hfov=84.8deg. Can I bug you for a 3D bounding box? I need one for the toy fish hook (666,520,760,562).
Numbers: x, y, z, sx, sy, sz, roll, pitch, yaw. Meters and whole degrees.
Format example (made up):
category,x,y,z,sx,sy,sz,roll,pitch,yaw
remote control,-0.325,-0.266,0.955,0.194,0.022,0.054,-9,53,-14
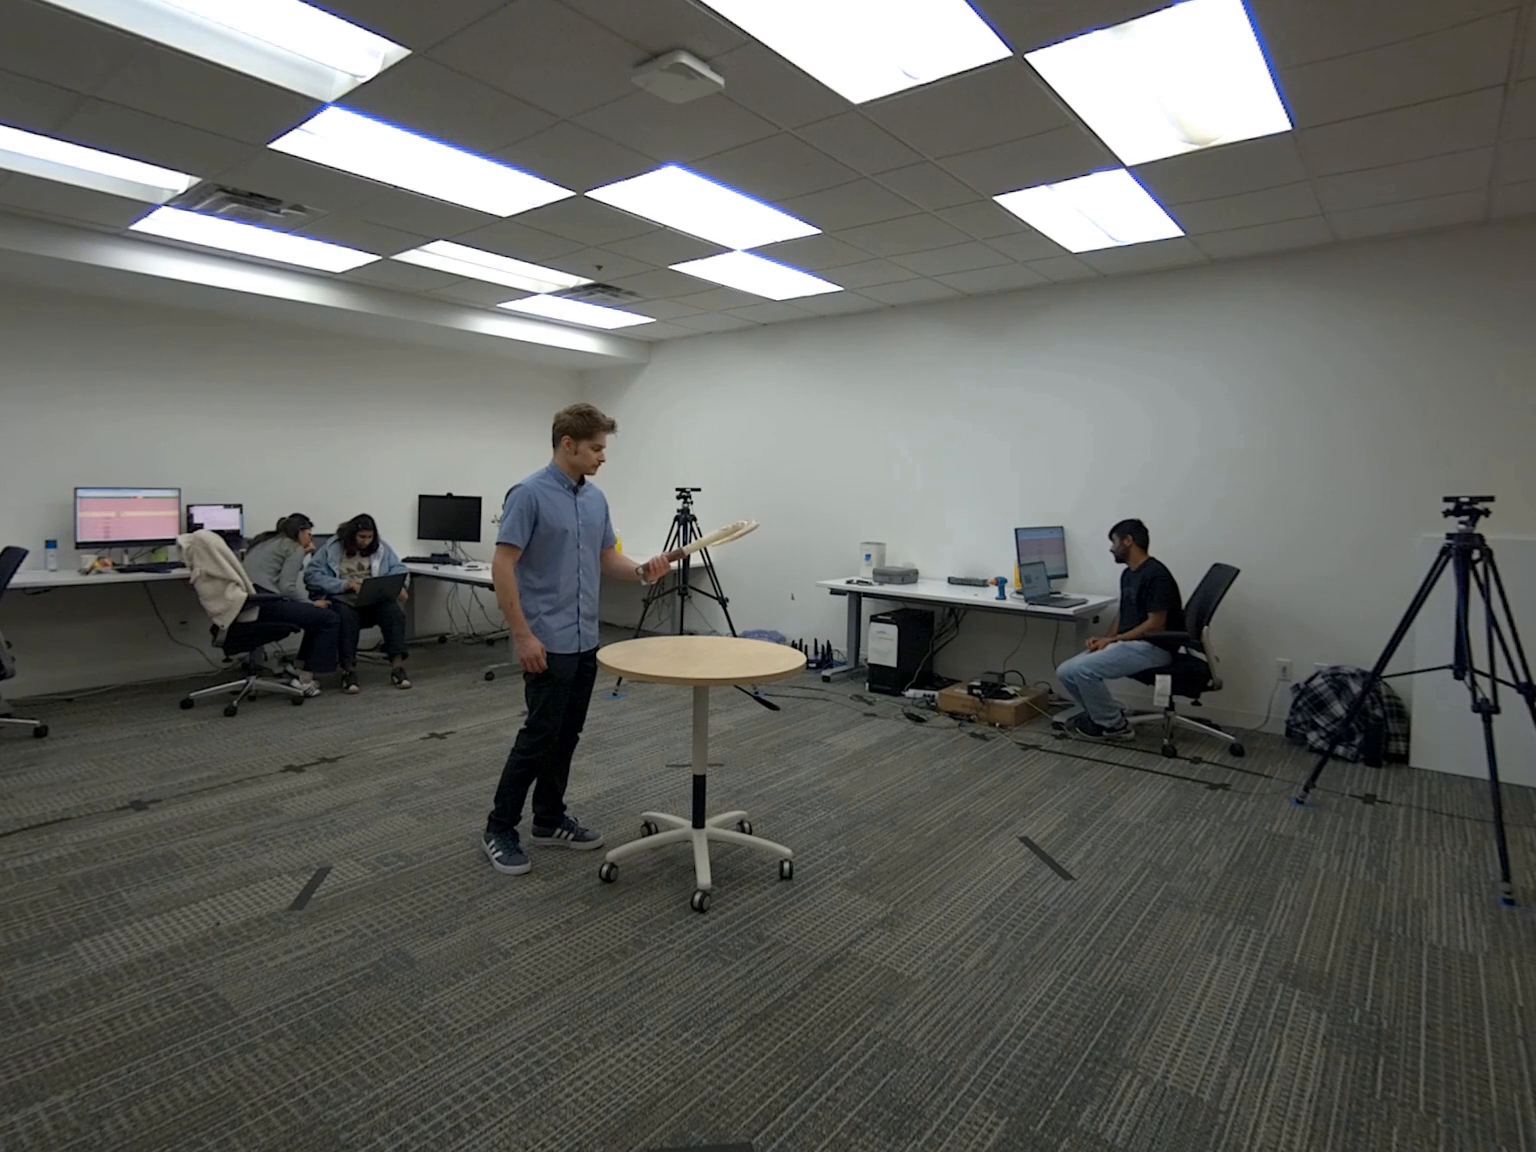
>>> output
category,x,y,z,sx,sy,sz,roll,pitch,yaw
toy fish hook,-0.283,-0.100,3.172,0.508,0.048,0.226,-24,9,6
